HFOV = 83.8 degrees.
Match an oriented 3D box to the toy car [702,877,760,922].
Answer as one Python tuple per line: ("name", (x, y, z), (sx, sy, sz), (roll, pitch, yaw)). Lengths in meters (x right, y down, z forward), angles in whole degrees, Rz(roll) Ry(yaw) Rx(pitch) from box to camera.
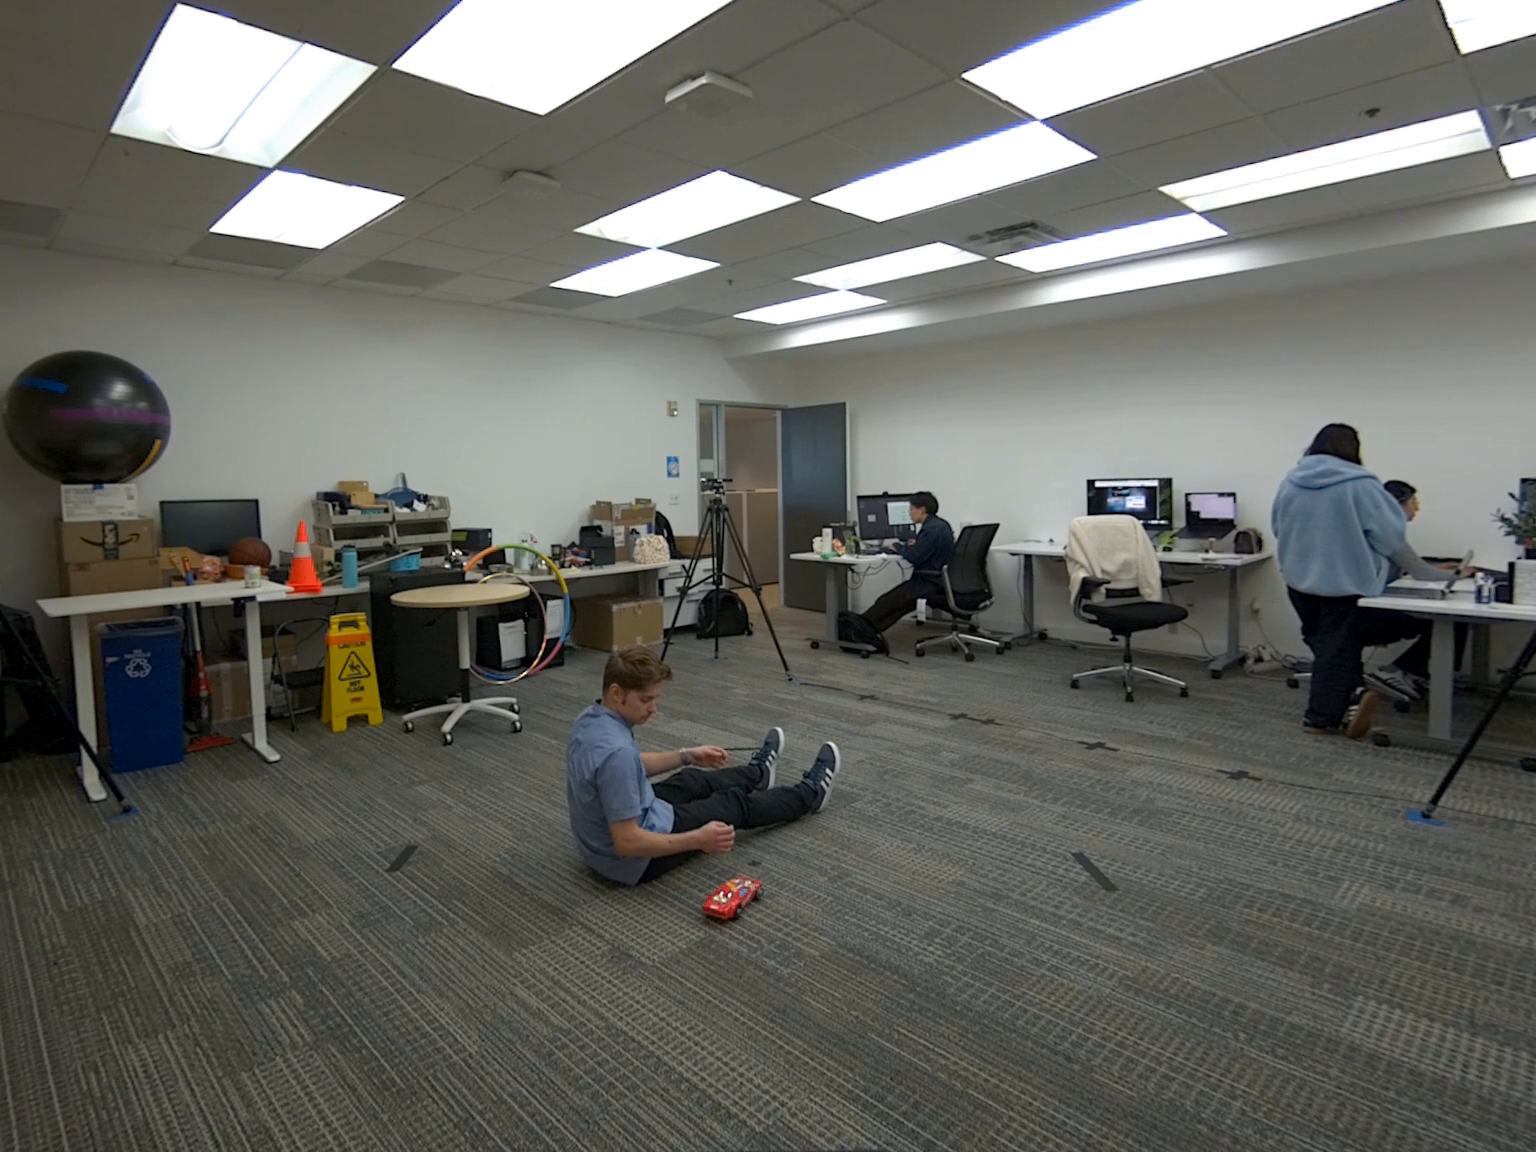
("toy car", (-0.116, 1.052, 2.774), (0.134, 0.083, 0.247), (4, -4, 30))
